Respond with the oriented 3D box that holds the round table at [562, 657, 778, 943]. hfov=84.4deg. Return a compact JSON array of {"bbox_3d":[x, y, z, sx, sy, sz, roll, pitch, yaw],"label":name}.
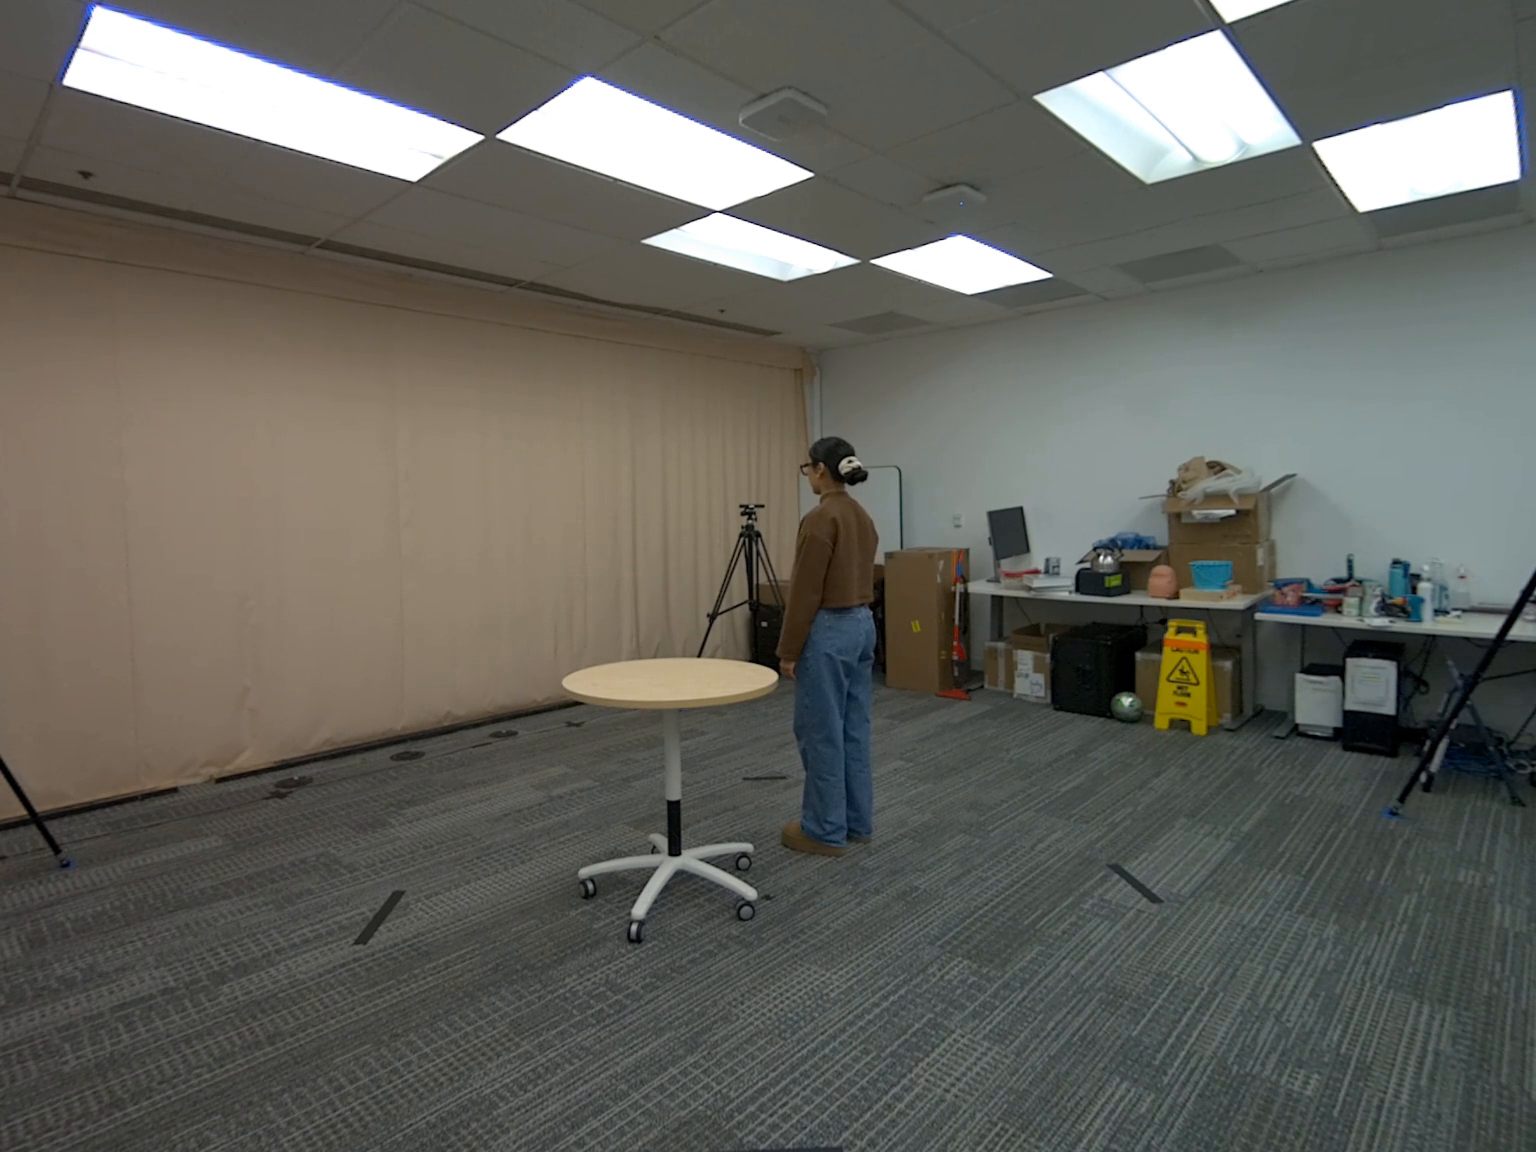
[{"bbox_3d":[-0.340,0.754,3.018,0.763,0.792,0.766,-1,4,-2],"label":"round table"}]
